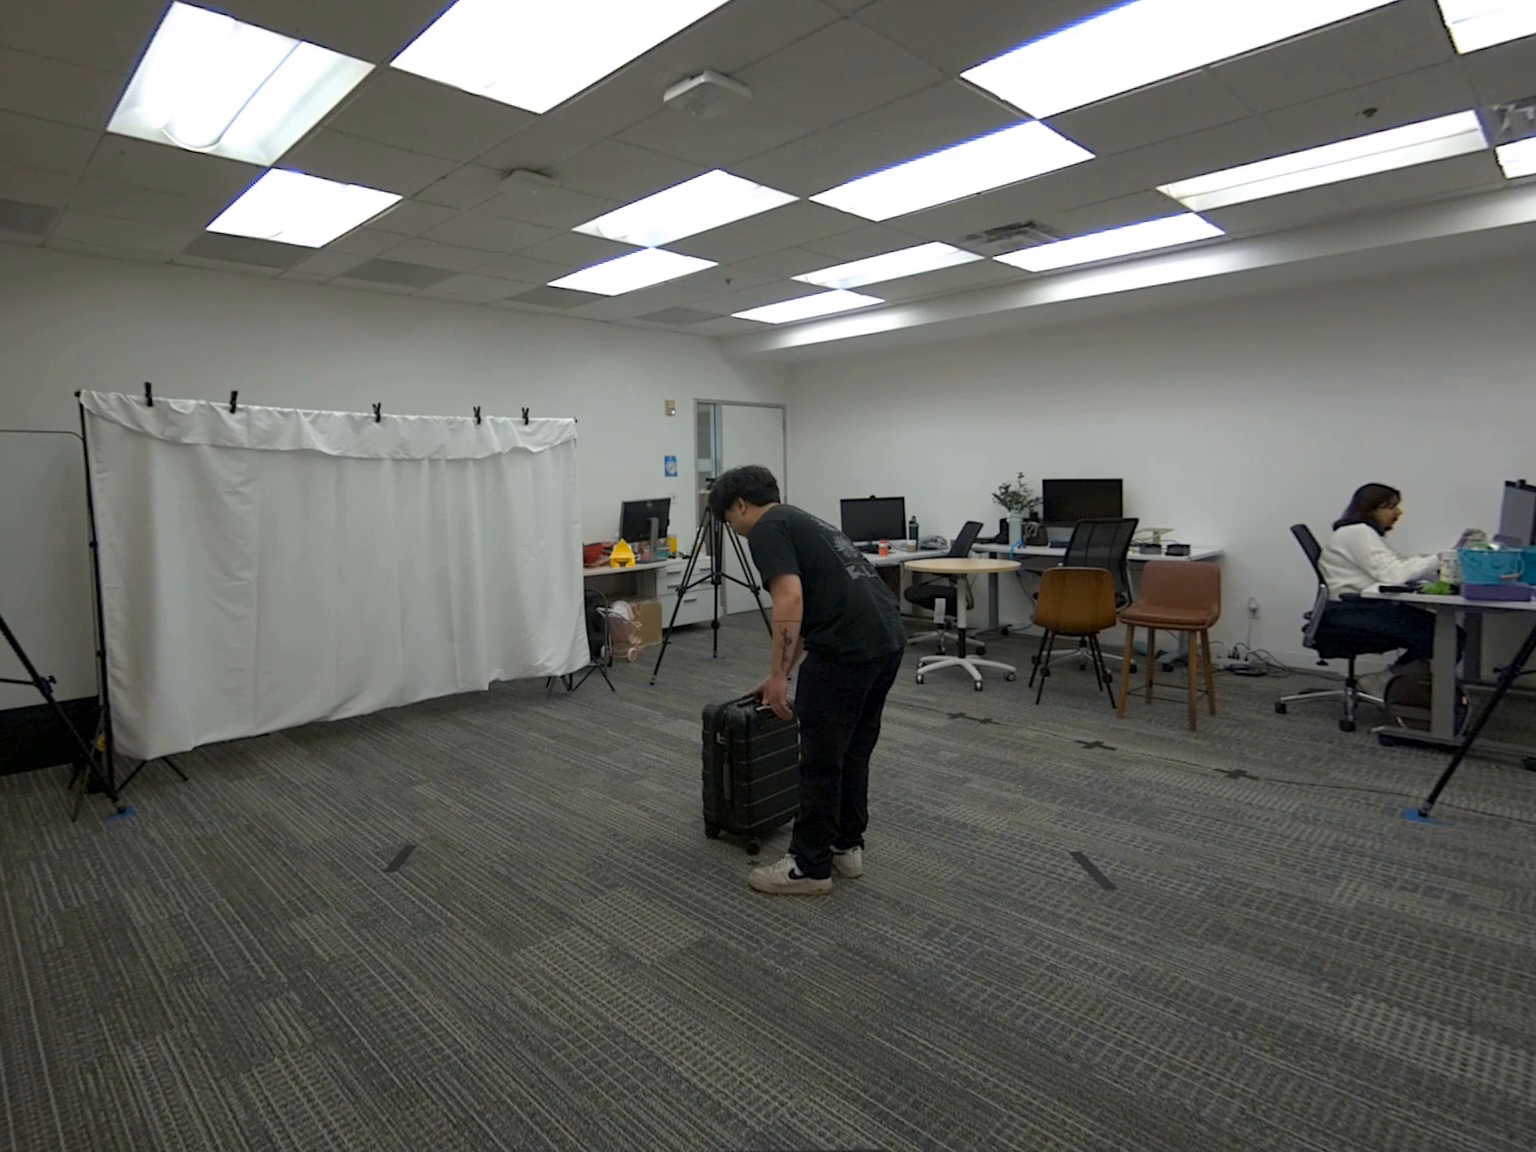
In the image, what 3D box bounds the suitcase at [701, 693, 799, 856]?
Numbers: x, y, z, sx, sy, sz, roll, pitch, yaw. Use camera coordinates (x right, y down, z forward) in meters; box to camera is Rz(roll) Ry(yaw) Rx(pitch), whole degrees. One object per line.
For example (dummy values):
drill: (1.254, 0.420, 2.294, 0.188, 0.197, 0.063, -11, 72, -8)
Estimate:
suitcase: (-0.065, 0.739, 3.355, 0.256, 0.548, 0.365, 1, 5, 44)
